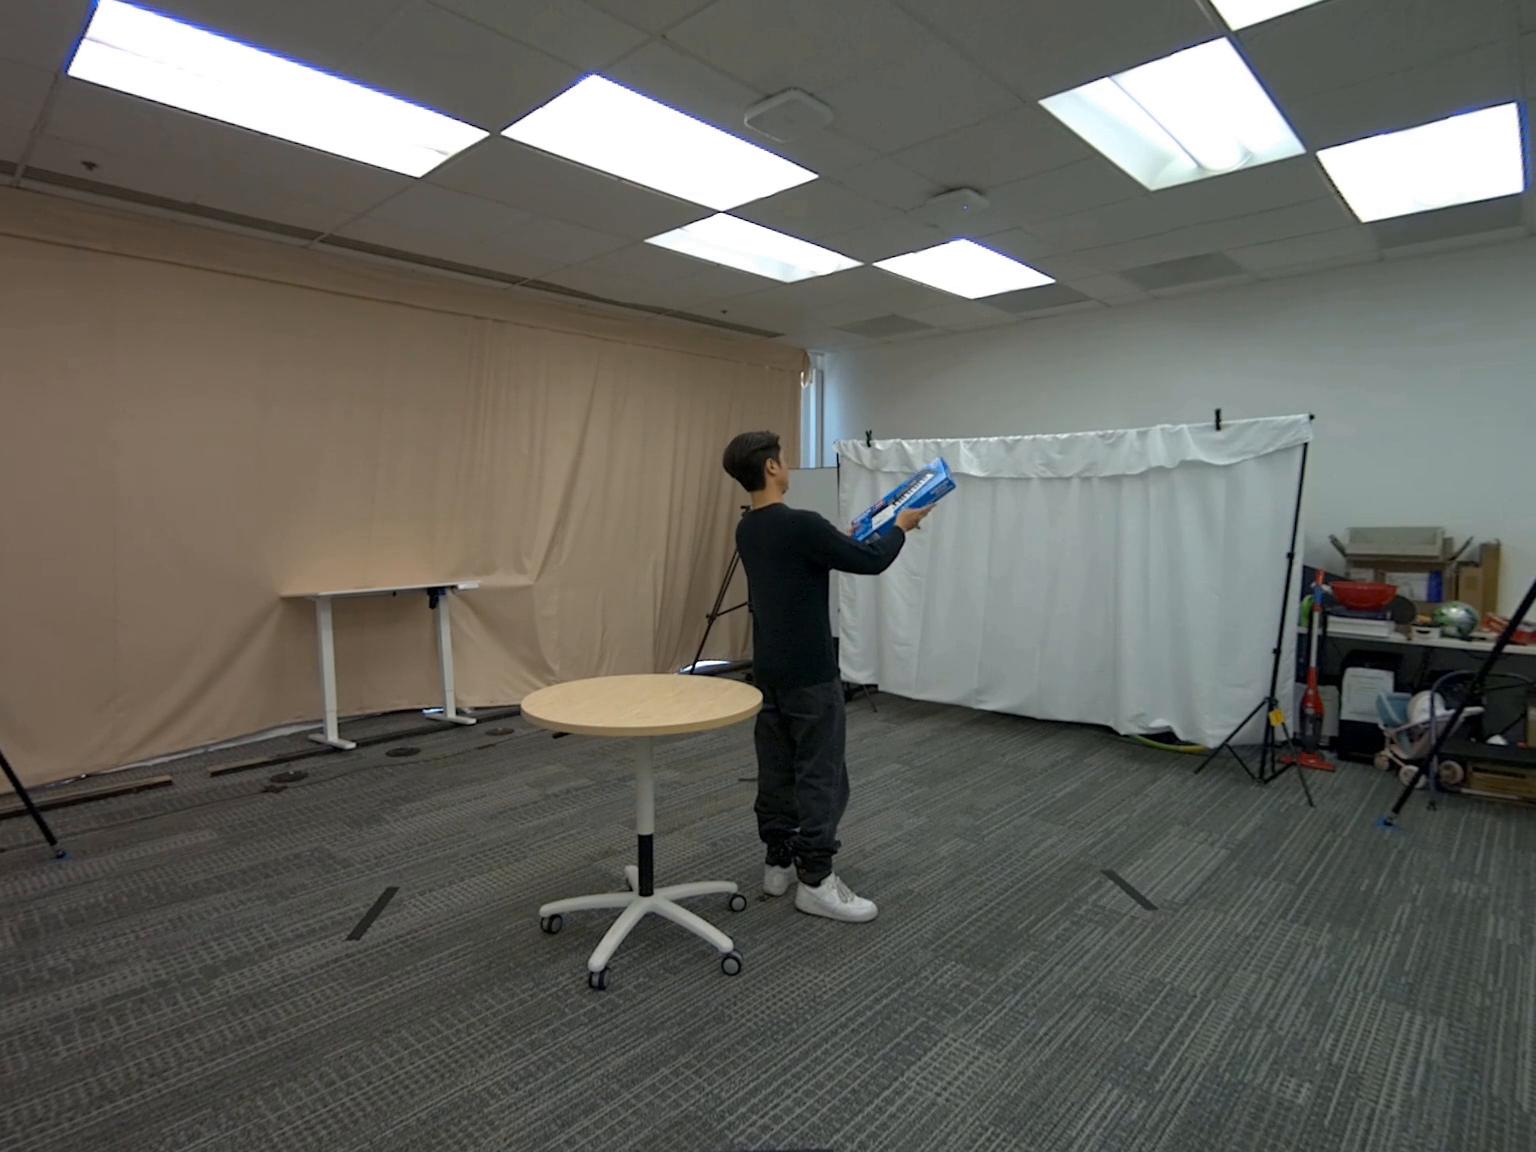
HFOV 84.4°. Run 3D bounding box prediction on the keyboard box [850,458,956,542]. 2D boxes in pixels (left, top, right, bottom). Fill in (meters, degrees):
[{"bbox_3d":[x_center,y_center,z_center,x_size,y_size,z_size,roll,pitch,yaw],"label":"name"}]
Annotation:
[{"bbox_3d":[0.514,-0.269,3.226,0.441,0.057,0.179,-38,26,24],"label":"keyboard box"}]
